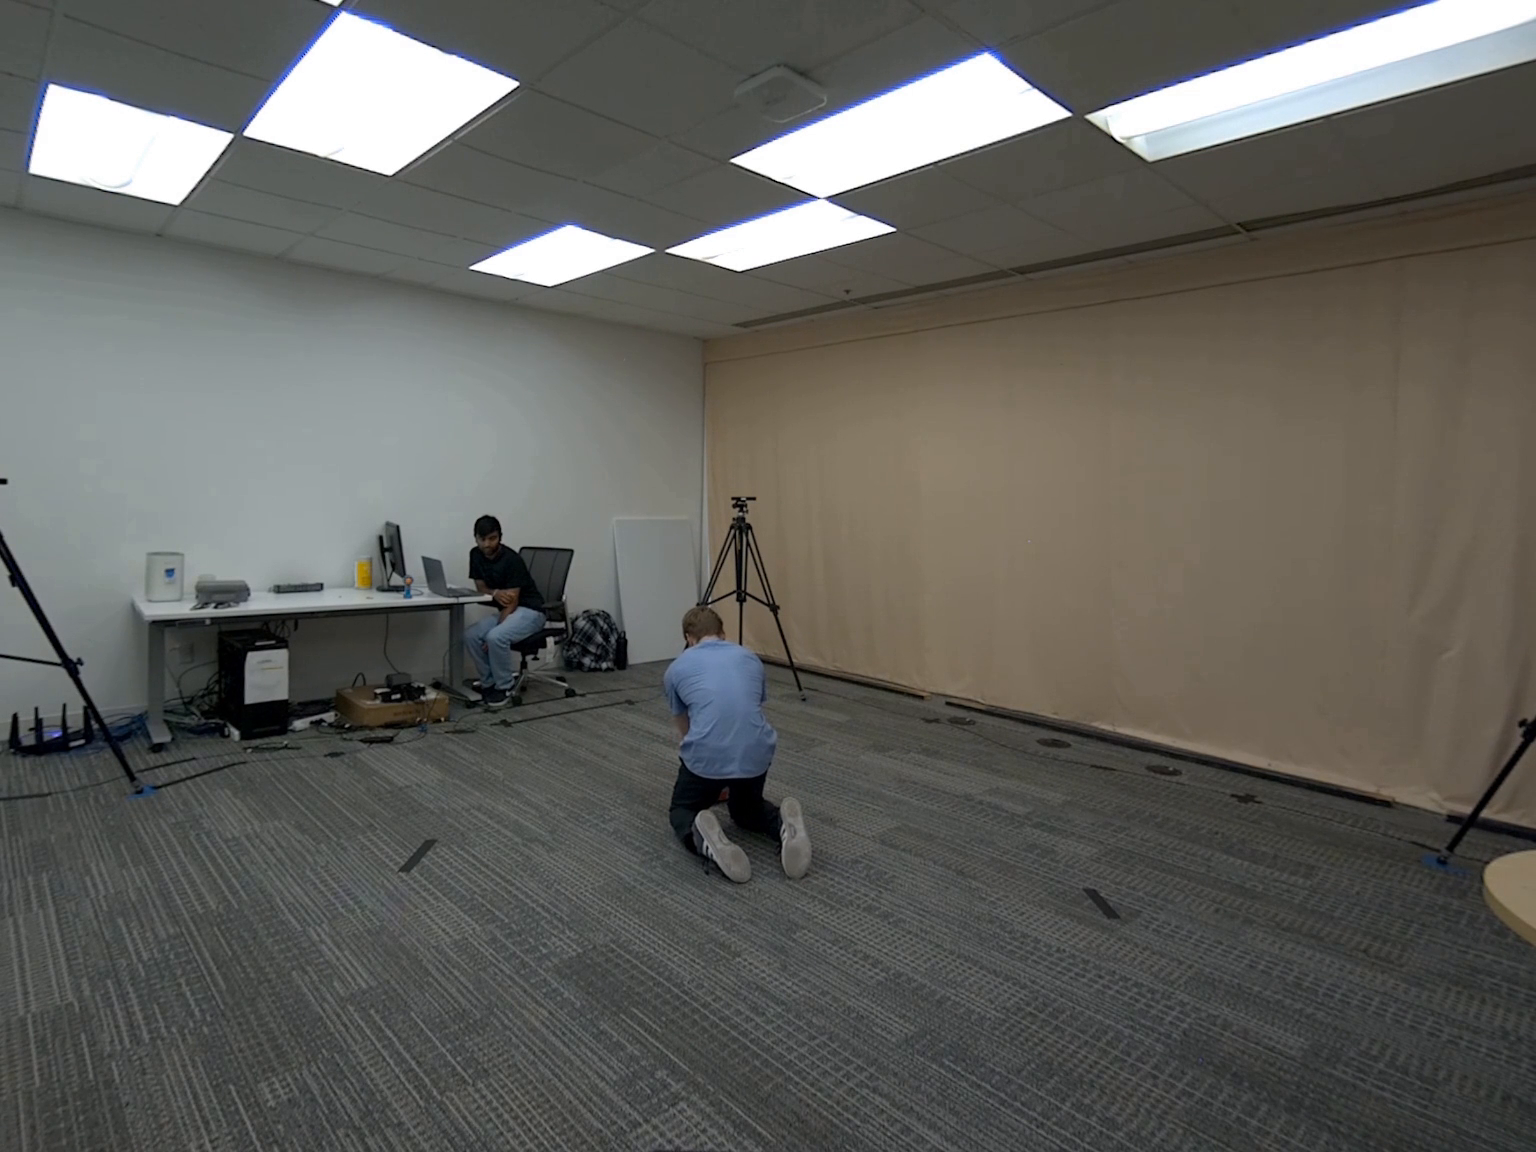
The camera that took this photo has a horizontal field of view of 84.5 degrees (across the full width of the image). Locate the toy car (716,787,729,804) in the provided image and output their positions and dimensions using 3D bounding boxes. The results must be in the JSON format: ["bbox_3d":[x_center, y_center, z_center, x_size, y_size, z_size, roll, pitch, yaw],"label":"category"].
[{"bbox_3d":[-0.213,1.008,3.913,0.251,0.082,0.133,-16,12,-30],"label":"toy car"}]
